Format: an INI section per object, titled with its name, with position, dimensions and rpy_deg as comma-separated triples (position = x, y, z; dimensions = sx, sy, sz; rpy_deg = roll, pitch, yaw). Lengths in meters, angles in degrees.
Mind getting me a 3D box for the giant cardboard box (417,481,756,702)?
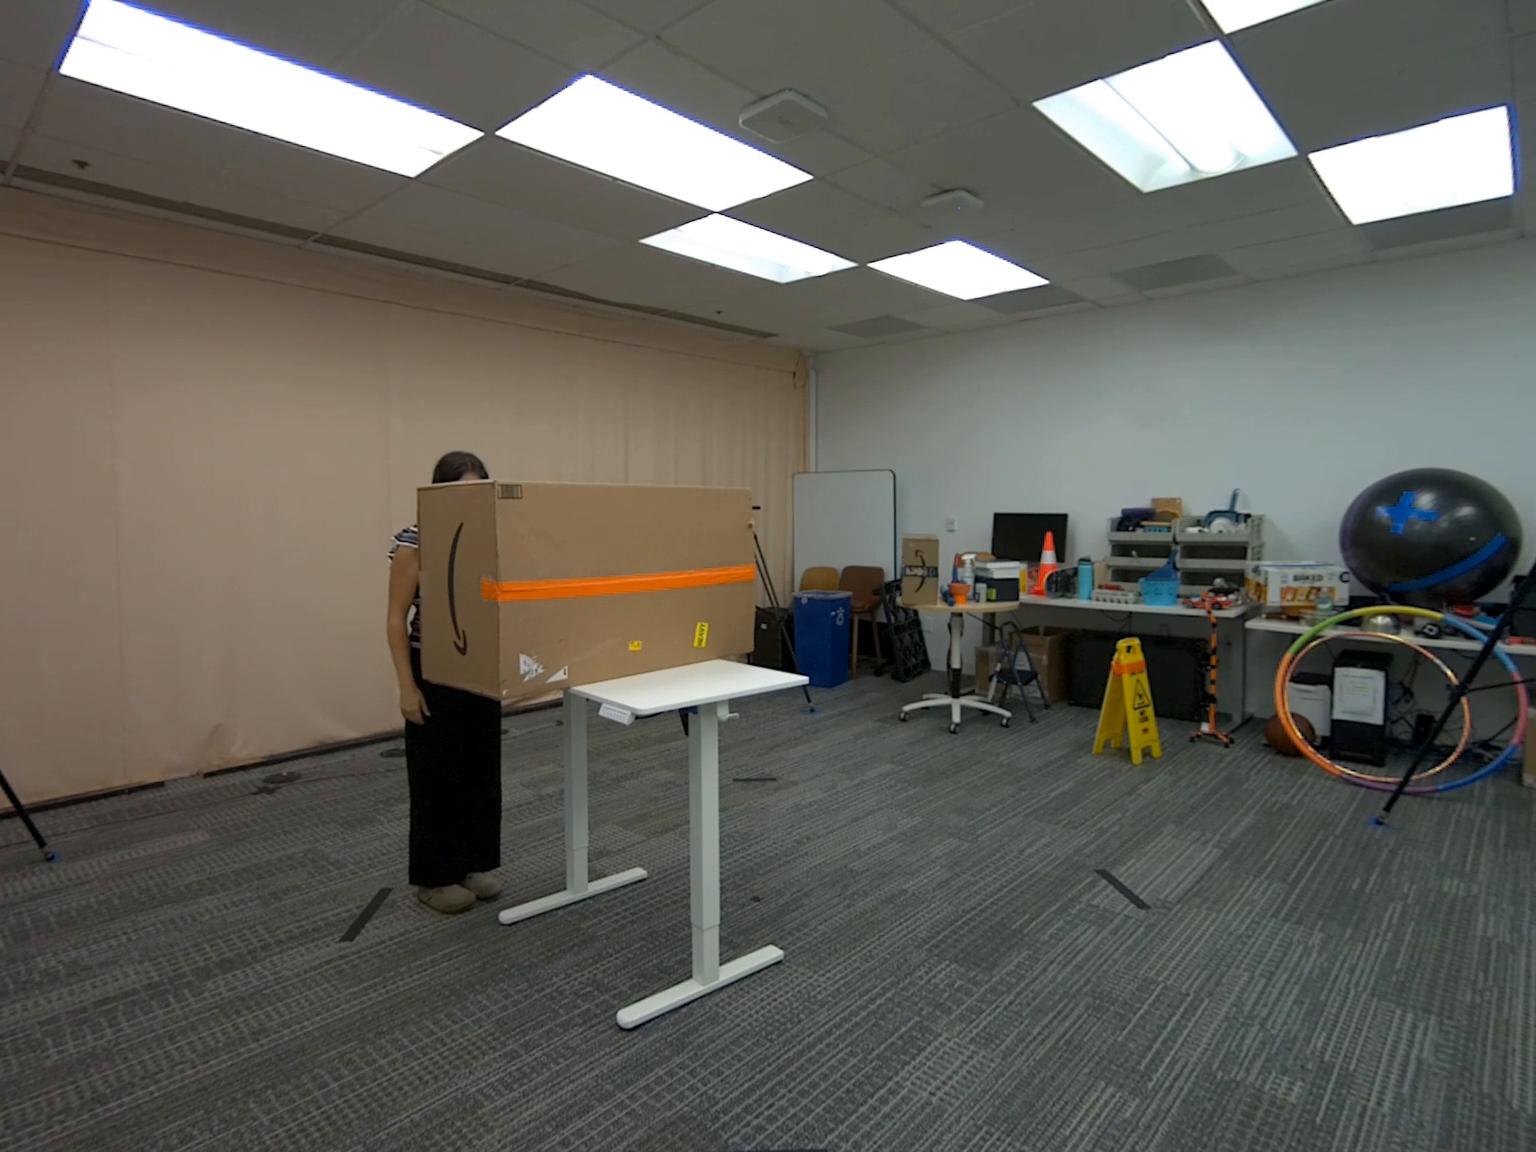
[giant cardboard box]
position = -0.535, 0.002, 2.699
dimensions = 0.440, 0.576, 0.994
rpy_deg = 2, 5, 42
